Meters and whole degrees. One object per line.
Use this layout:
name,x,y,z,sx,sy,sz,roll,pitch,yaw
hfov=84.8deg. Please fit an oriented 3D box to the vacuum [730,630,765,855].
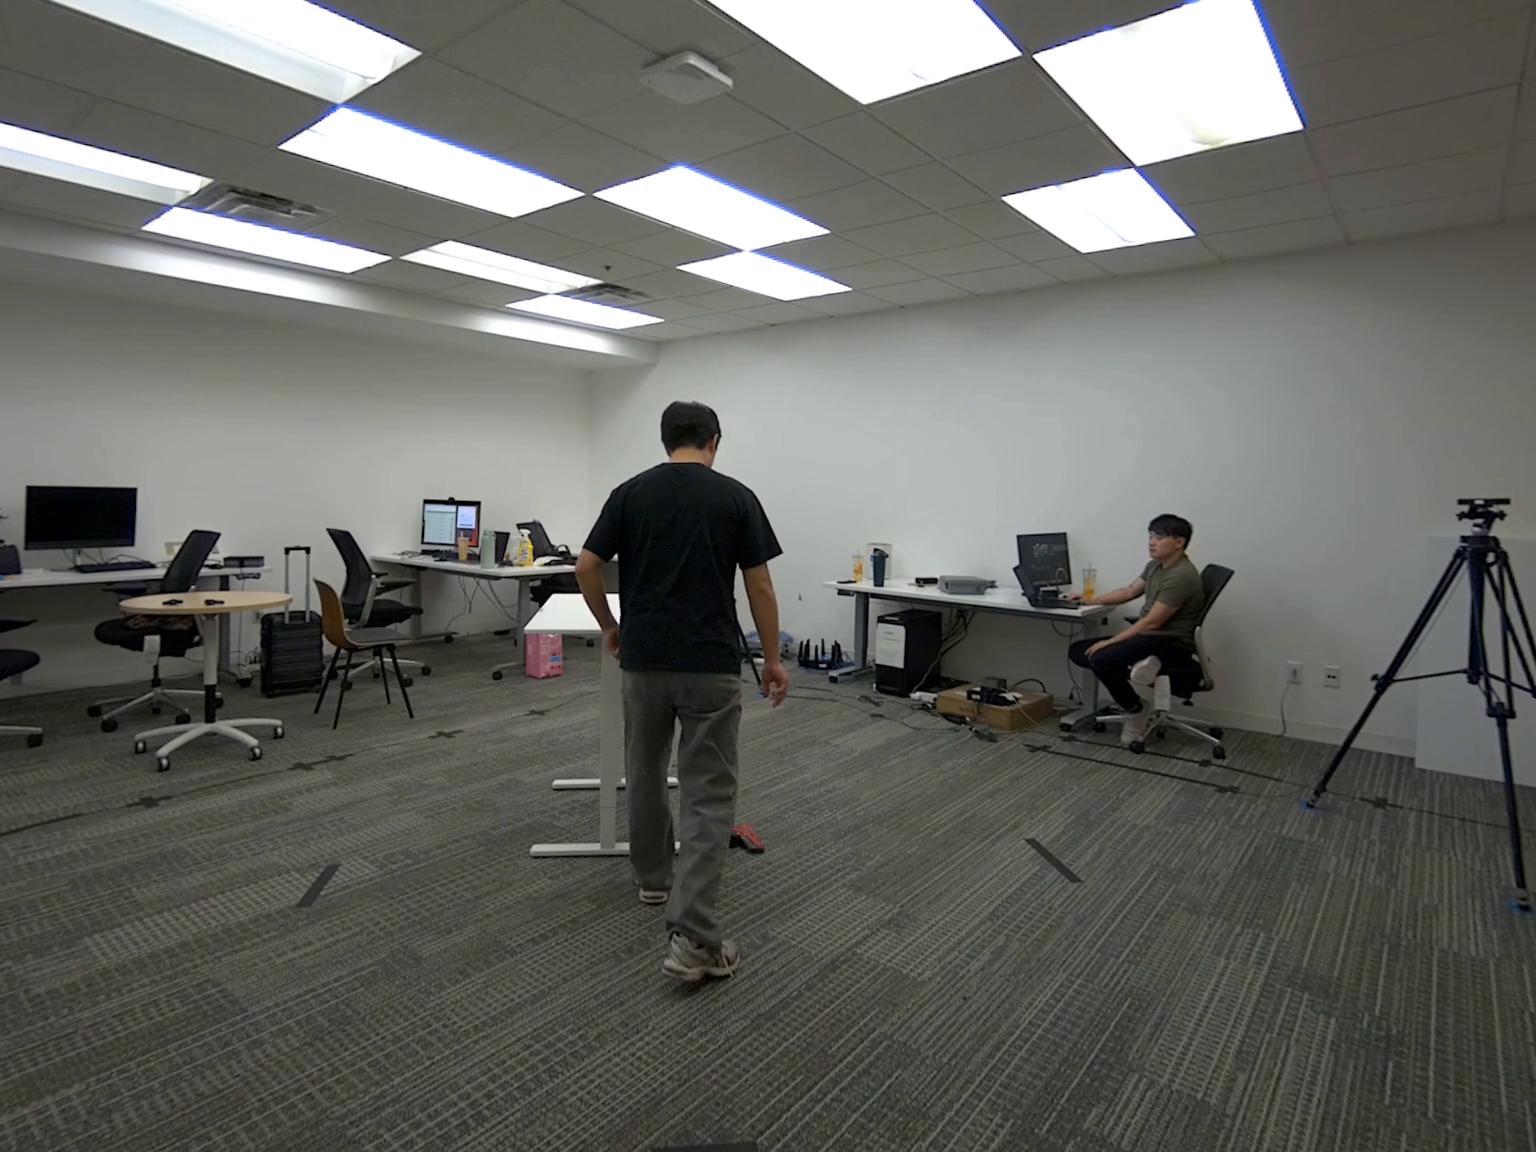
vacuum,-0.231,0.531,3.319,0.143,1.042,0.256,-13,6,-10
